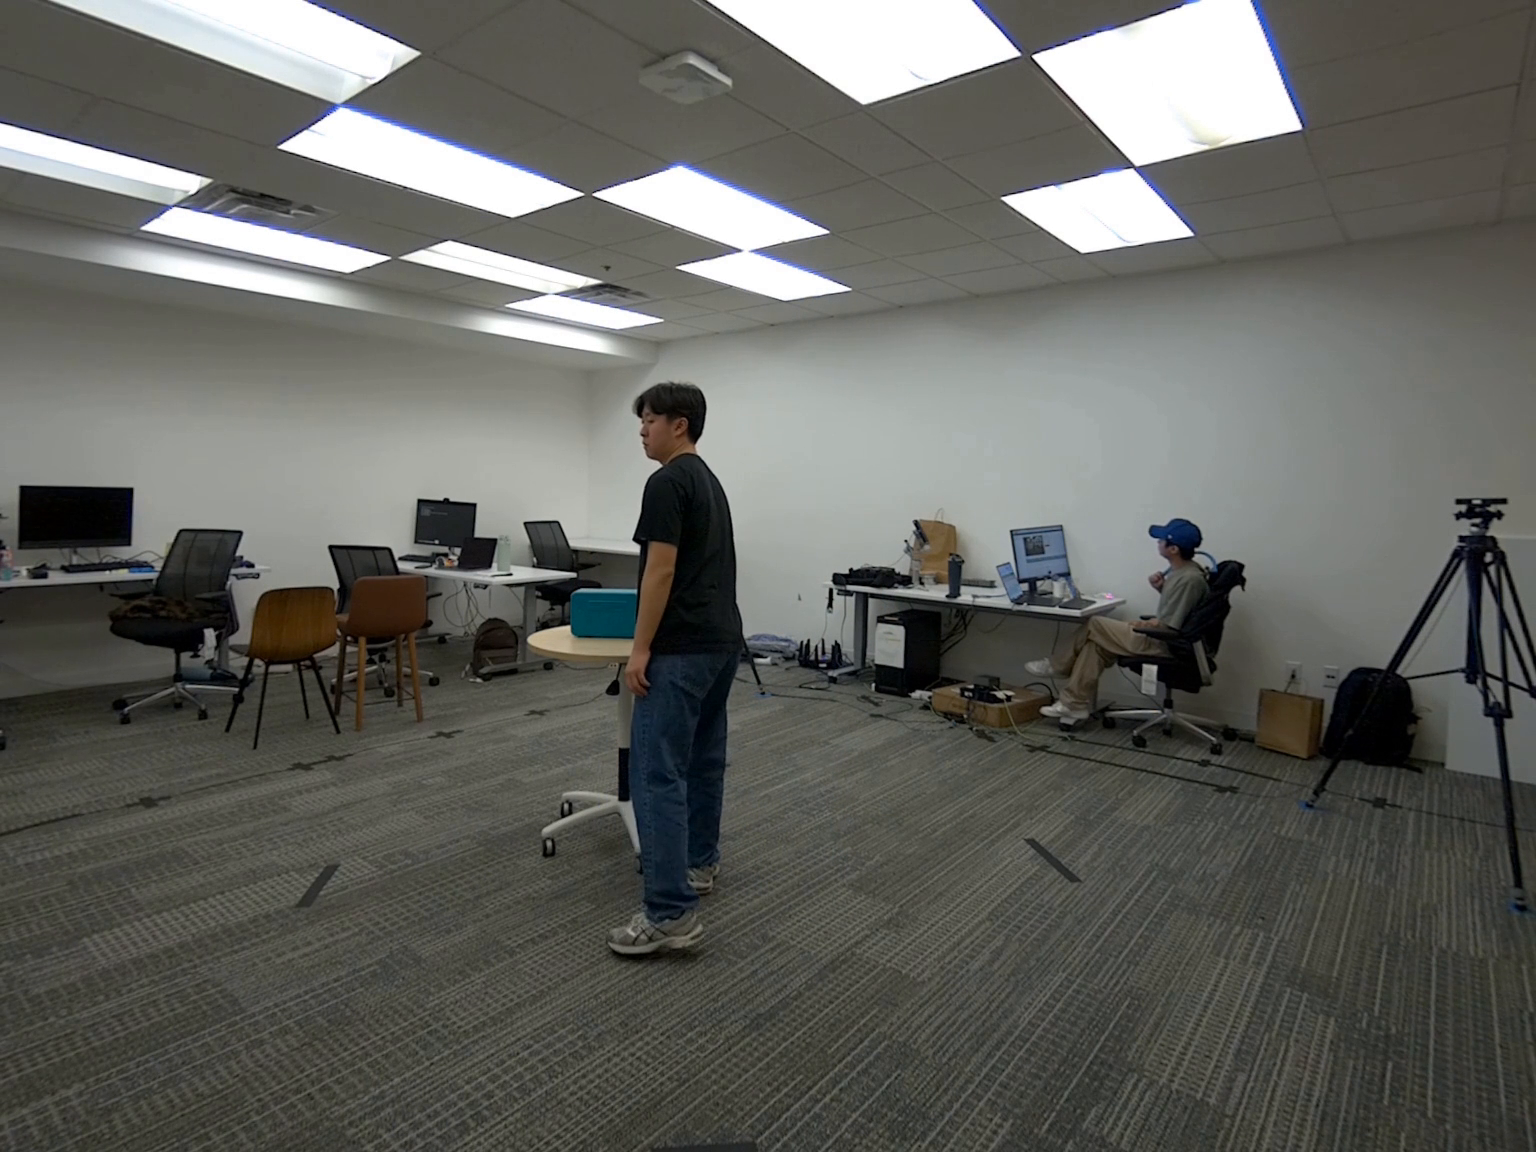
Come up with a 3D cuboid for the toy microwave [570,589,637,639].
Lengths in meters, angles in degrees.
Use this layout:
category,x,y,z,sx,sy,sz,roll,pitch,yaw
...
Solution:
category,x,y,z,sx,sy,sz,roll,pitch,yaw
toy microwave,-0.657,0.141,3.414,0.287,0.184,0.152,2,2,1
